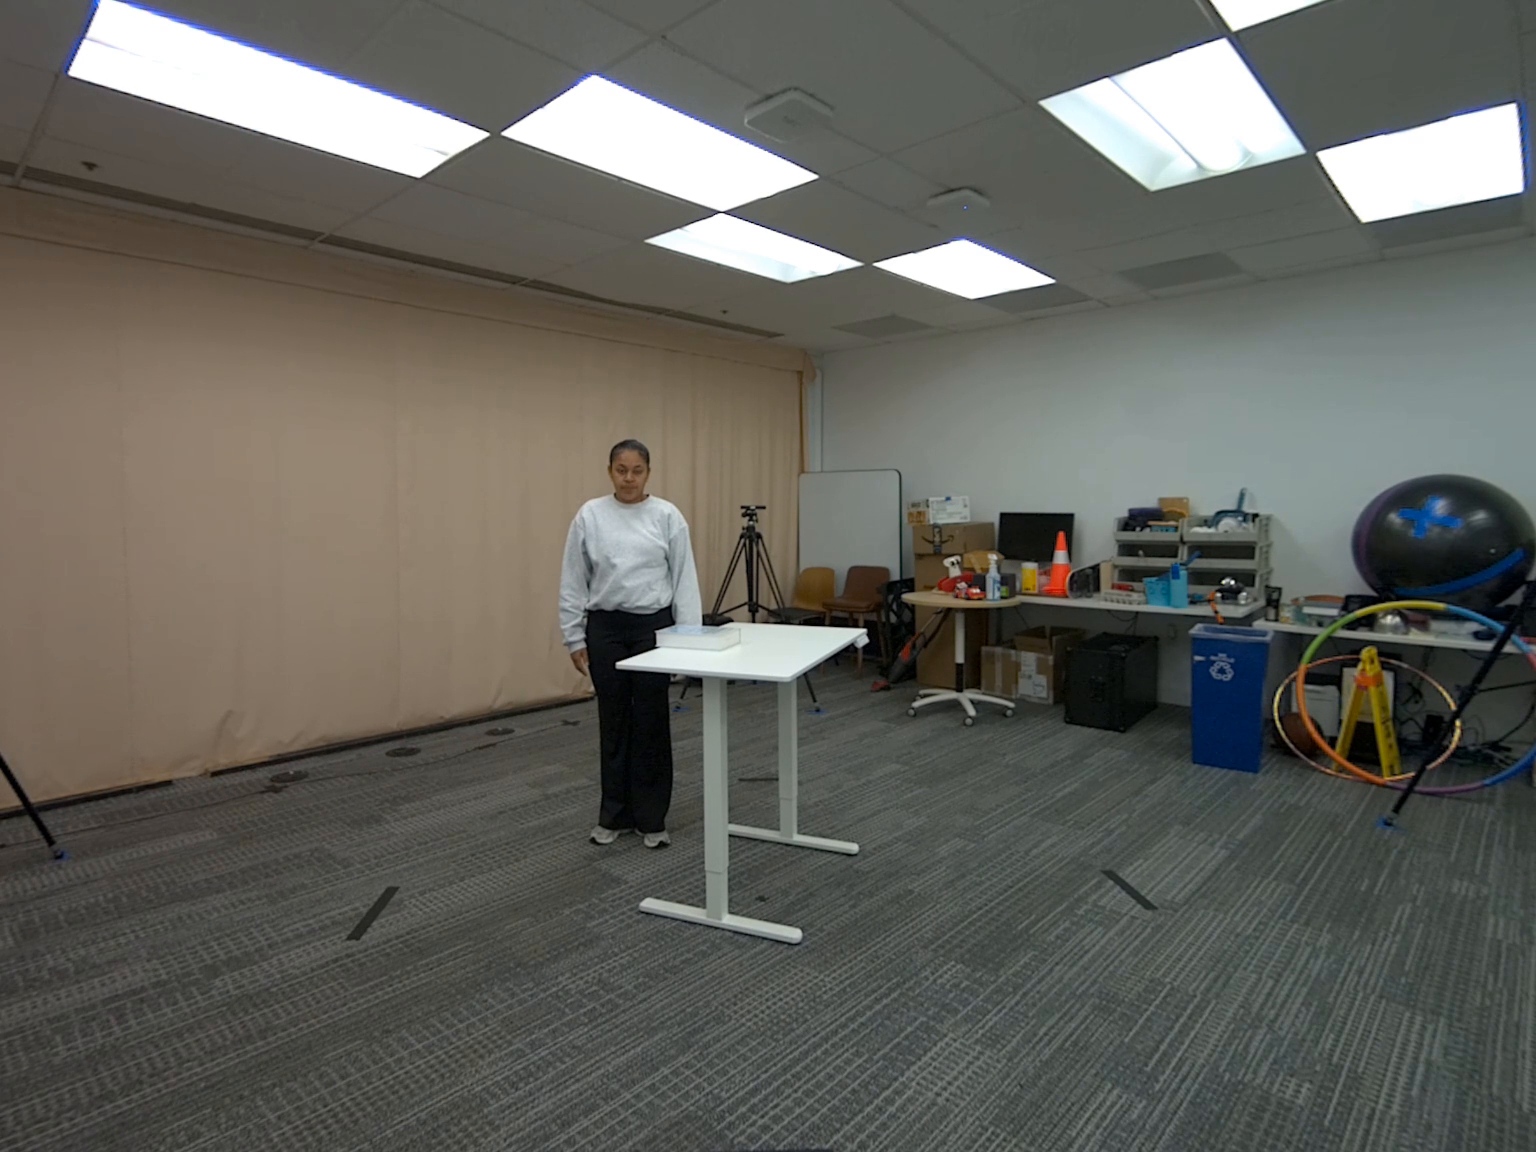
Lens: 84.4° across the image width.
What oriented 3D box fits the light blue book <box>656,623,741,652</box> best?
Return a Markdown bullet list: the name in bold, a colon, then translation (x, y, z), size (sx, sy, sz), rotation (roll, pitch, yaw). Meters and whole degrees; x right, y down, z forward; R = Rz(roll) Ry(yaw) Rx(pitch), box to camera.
- **light blue book**: translation (-0.252, 0.223, 3.105), size (0.267, 0.059, 0.187), rotation (2, 5, 24)
